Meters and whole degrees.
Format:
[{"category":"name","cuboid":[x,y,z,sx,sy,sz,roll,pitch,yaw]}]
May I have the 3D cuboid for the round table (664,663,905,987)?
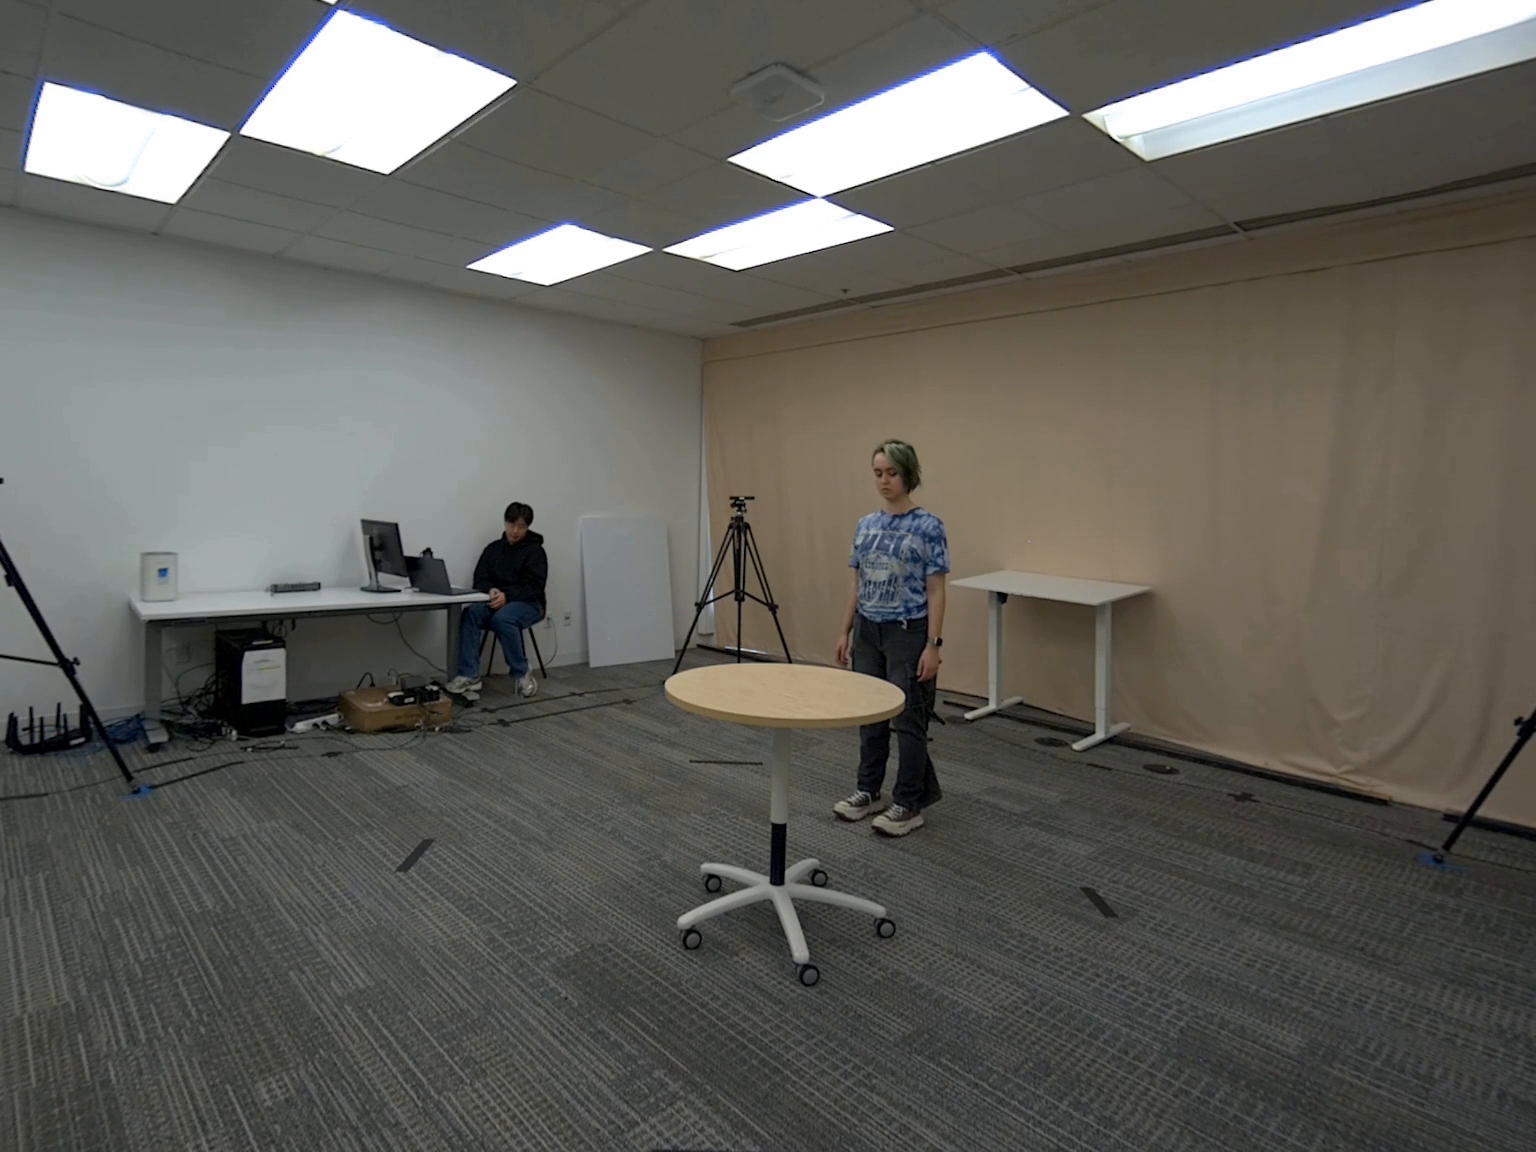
[{"category":"round table","cuboid":[0.031,0.752,2.730,0.763,0.792,0.767,2,4,-2]}]
